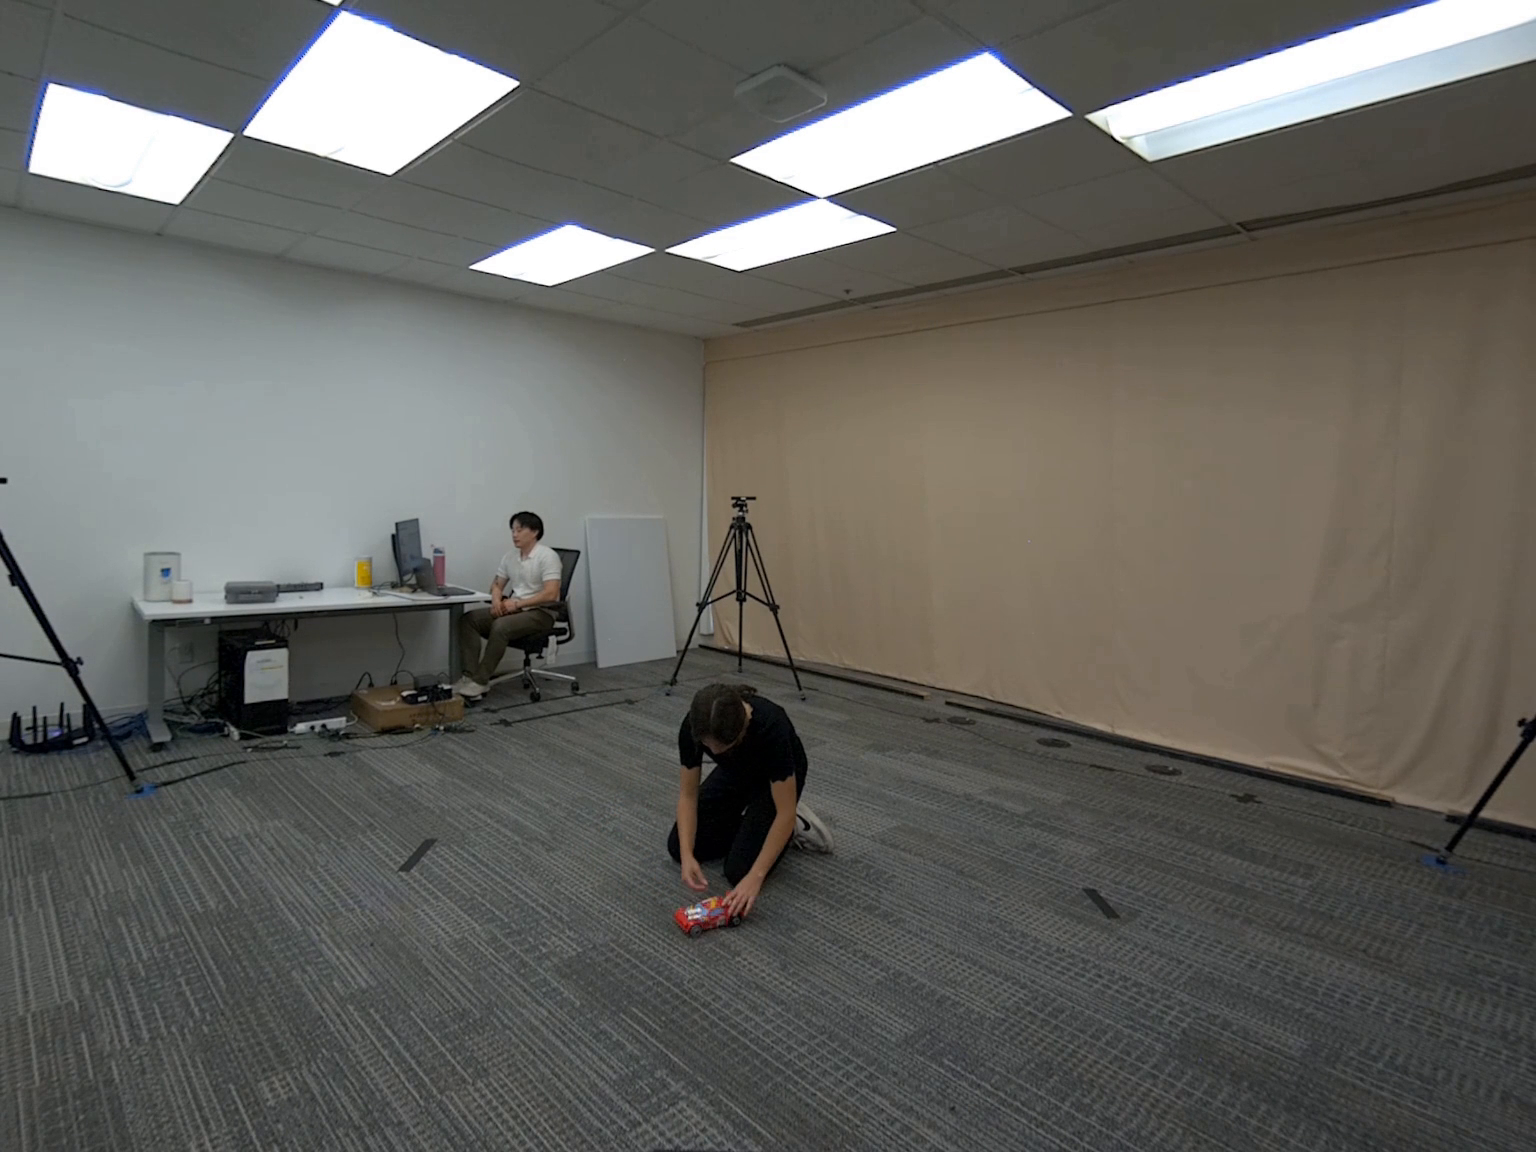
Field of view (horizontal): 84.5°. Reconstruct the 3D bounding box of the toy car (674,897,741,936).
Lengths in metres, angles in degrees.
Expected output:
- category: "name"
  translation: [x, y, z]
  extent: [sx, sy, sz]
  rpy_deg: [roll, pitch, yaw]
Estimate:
- category: "toy car"
  translation: [-0.187, 1.108, 2.748]
  extent: [0.250, 0.082, 0.133]
  rpy_deg: [-12, 11, -29]
